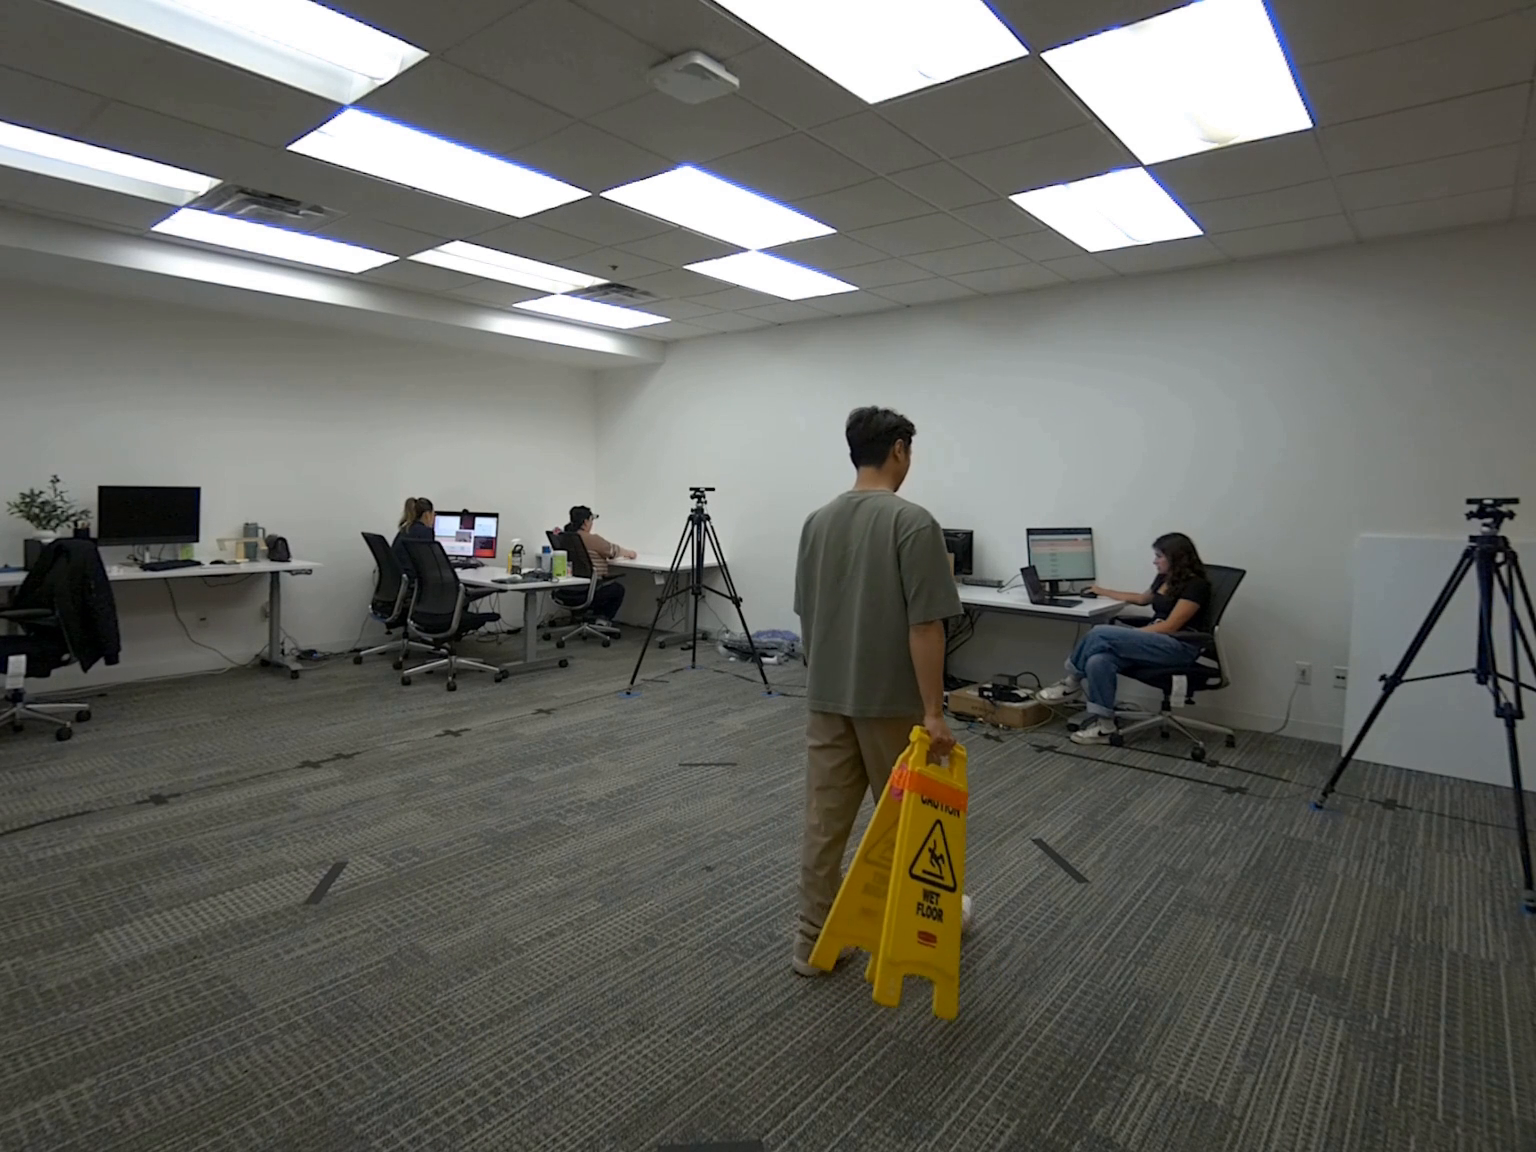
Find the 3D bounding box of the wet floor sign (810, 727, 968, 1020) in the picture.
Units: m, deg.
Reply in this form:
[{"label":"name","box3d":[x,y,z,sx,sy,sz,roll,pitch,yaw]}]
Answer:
[{"label":"wet floor sign","box3d":[0.380,0.728,2.201,0.272,0.652,0.297,28,-20,-30]}]
